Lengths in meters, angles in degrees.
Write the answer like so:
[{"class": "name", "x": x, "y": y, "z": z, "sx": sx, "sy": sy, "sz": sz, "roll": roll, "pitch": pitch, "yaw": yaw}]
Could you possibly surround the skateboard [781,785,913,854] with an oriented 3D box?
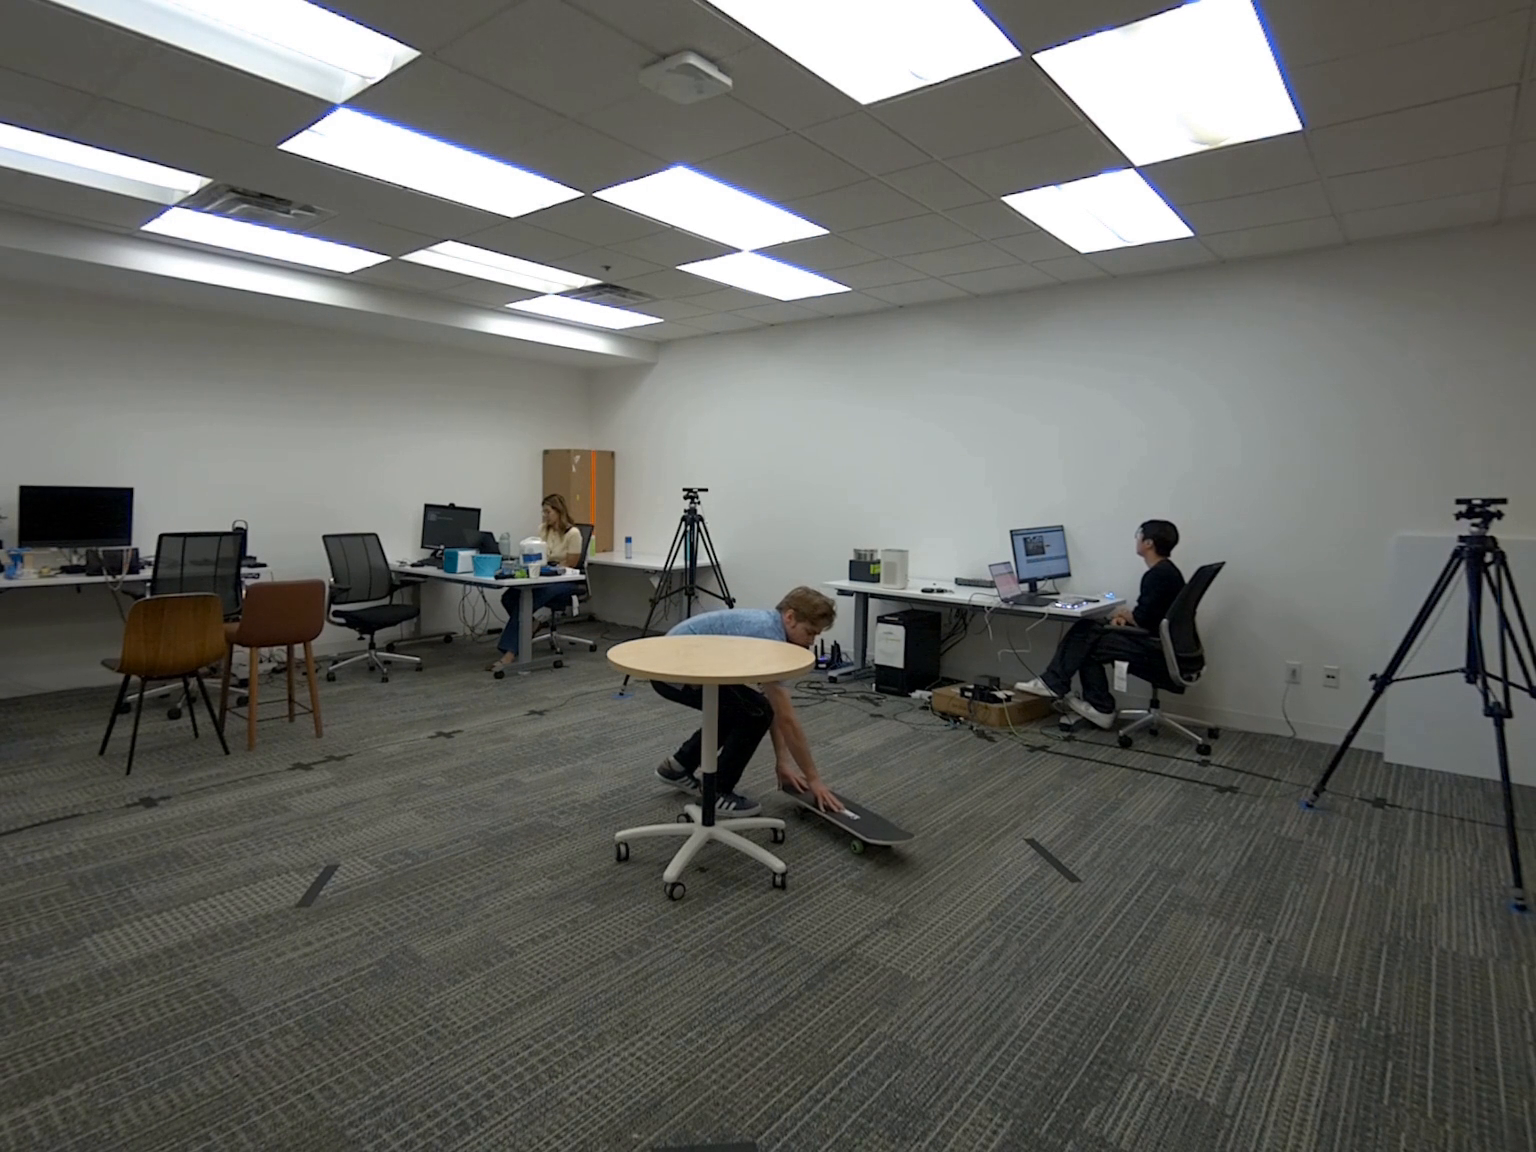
[{"class": "skateboard", "x": 0.291, "y": 0.988, "z": 3.488, "sx": 0.188, "sy": 0.110, "sz": 0.809, "roll": -3, "pitch": 6, "yaw": -31}]
